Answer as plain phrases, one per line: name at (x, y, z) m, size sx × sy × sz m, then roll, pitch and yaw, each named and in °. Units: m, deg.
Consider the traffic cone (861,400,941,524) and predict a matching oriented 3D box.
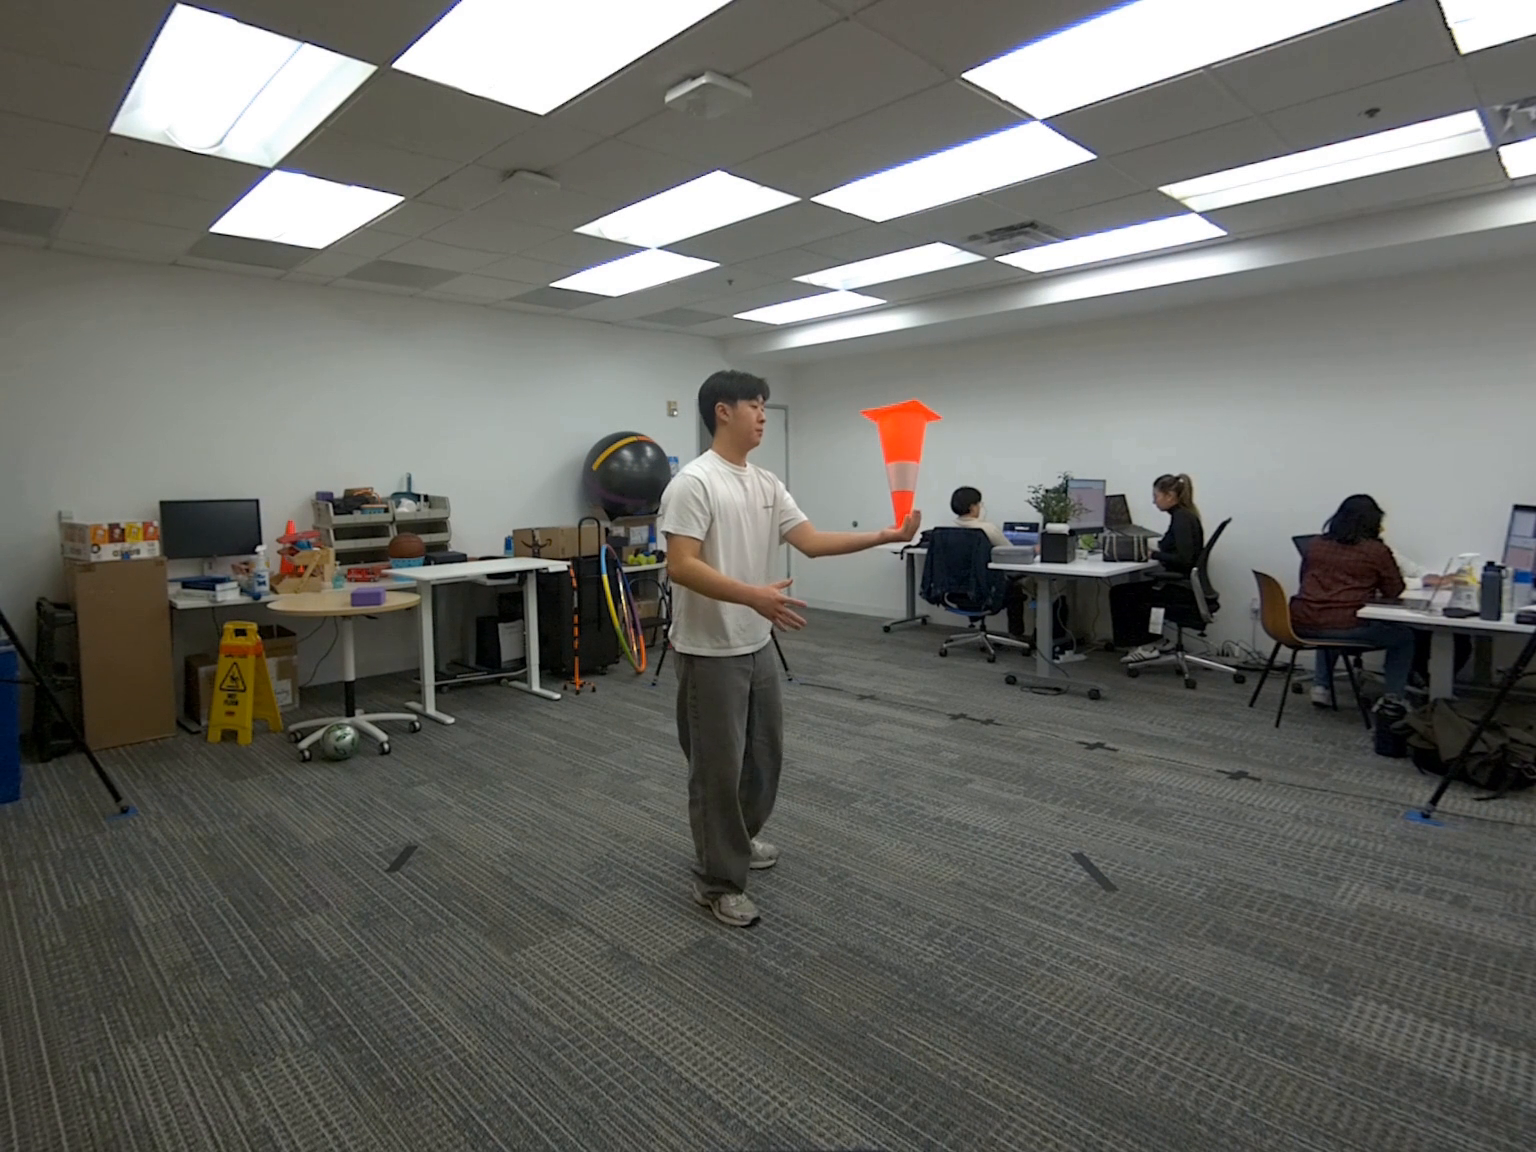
traffic cone at (0.418, -0.327, 2.697) m, size 0.210 × 0.388 × 0.196 m, roll -6°, pitch -14°, yaw 34°
